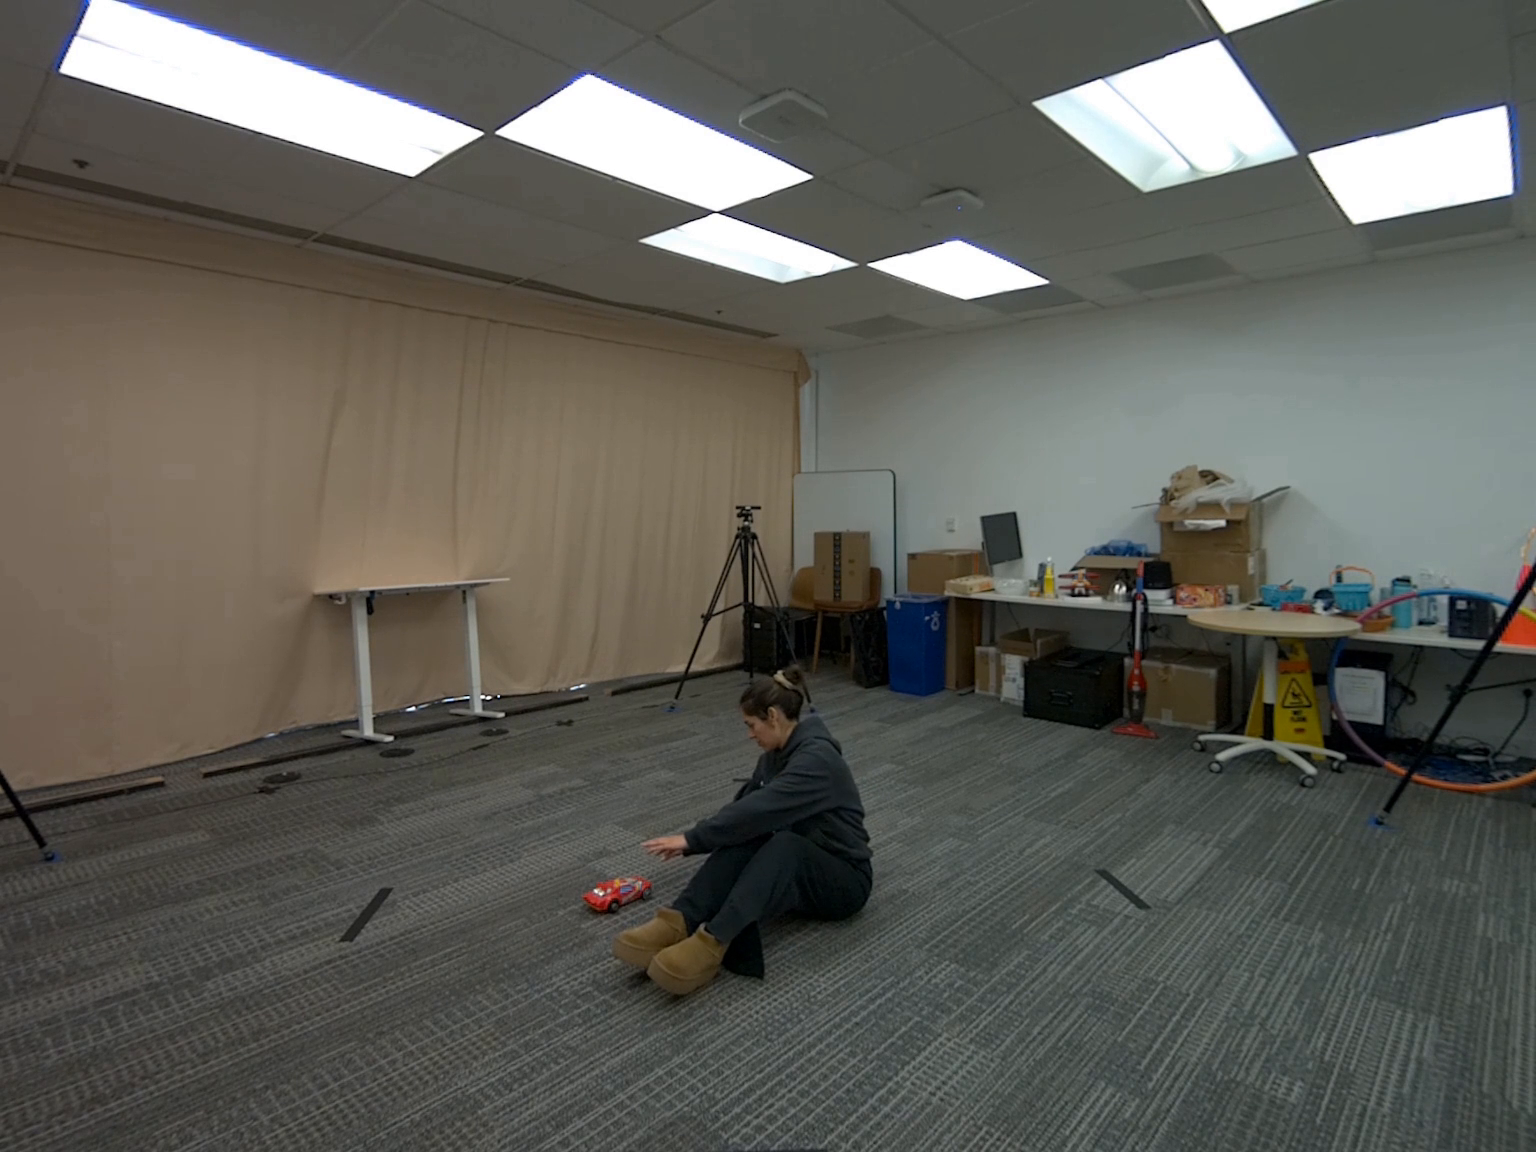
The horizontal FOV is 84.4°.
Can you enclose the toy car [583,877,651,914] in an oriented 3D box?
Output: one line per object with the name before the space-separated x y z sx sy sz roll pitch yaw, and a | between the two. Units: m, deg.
toy car | -0.516 1.123 2.961 0.246 0.083 0.134 10 -5 -44
